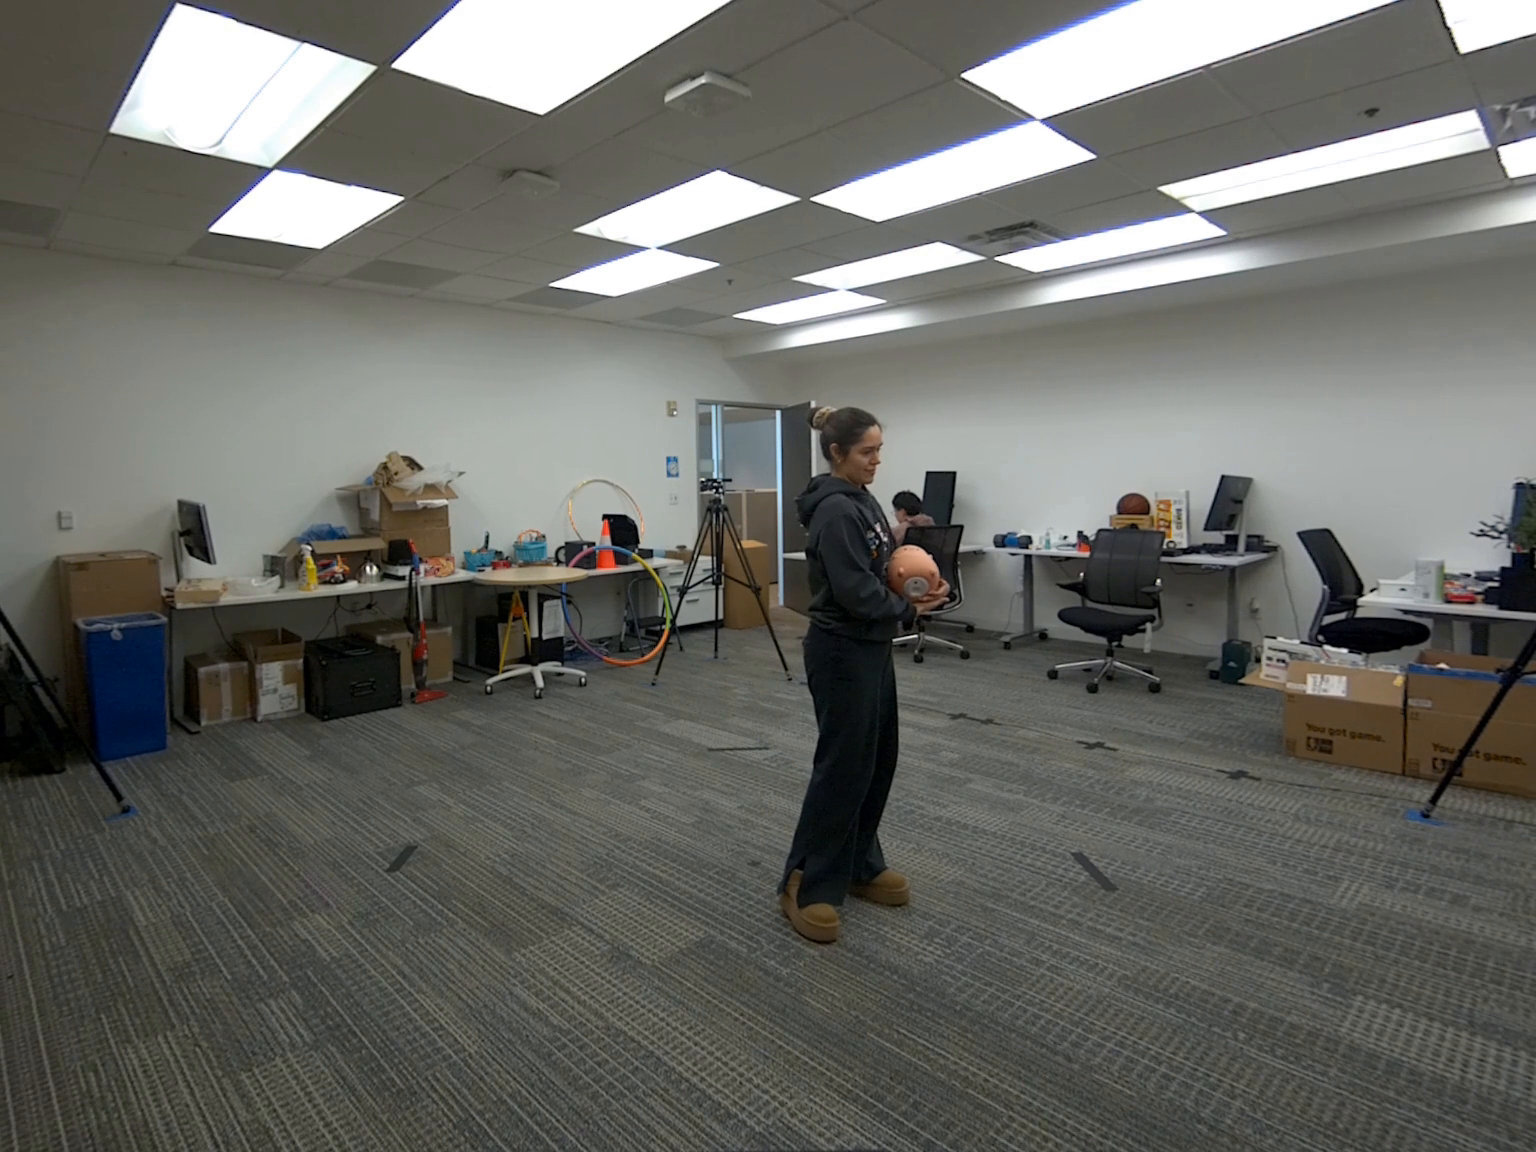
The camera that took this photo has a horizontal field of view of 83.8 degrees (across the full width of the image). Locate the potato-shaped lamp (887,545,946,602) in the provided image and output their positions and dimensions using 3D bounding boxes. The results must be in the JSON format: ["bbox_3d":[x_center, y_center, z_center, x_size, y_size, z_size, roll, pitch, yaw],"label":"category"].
[{"bbox_3d":[0.453,-0.010,2.777,0.165,0.167,0.203,-1,36,1],"label":"potato-shaped lamp"}]
